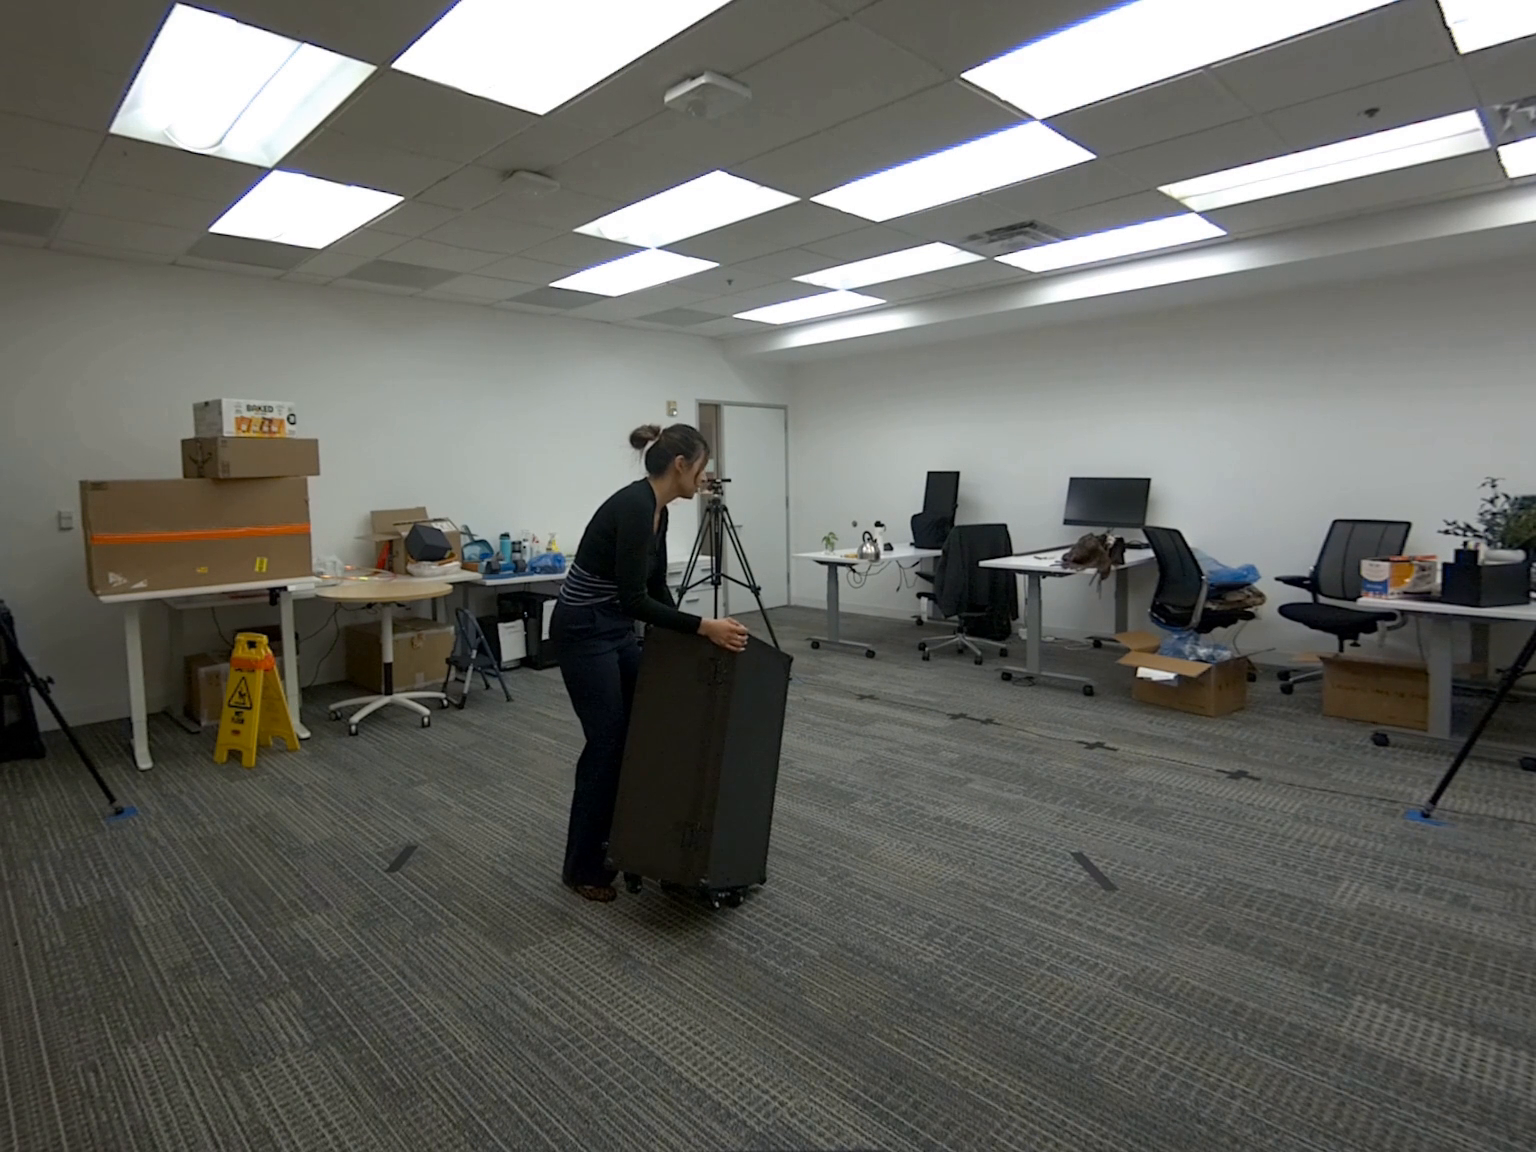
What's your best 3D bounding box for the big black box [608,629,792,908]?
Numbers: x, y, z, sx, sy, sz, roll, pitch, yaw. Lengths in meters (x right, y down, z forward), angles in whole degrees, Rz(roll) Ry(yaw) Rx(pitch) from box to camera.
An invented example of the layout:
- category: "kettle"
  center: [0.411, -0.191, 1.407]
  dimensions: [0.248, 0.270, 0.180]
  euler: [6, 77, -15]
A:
- category: "big black box"
  center: [-0.219, 0.628, 2.882]
  dimensions: [0.405, 0.871, 0.504]
  euler: [0, -16, 24]
